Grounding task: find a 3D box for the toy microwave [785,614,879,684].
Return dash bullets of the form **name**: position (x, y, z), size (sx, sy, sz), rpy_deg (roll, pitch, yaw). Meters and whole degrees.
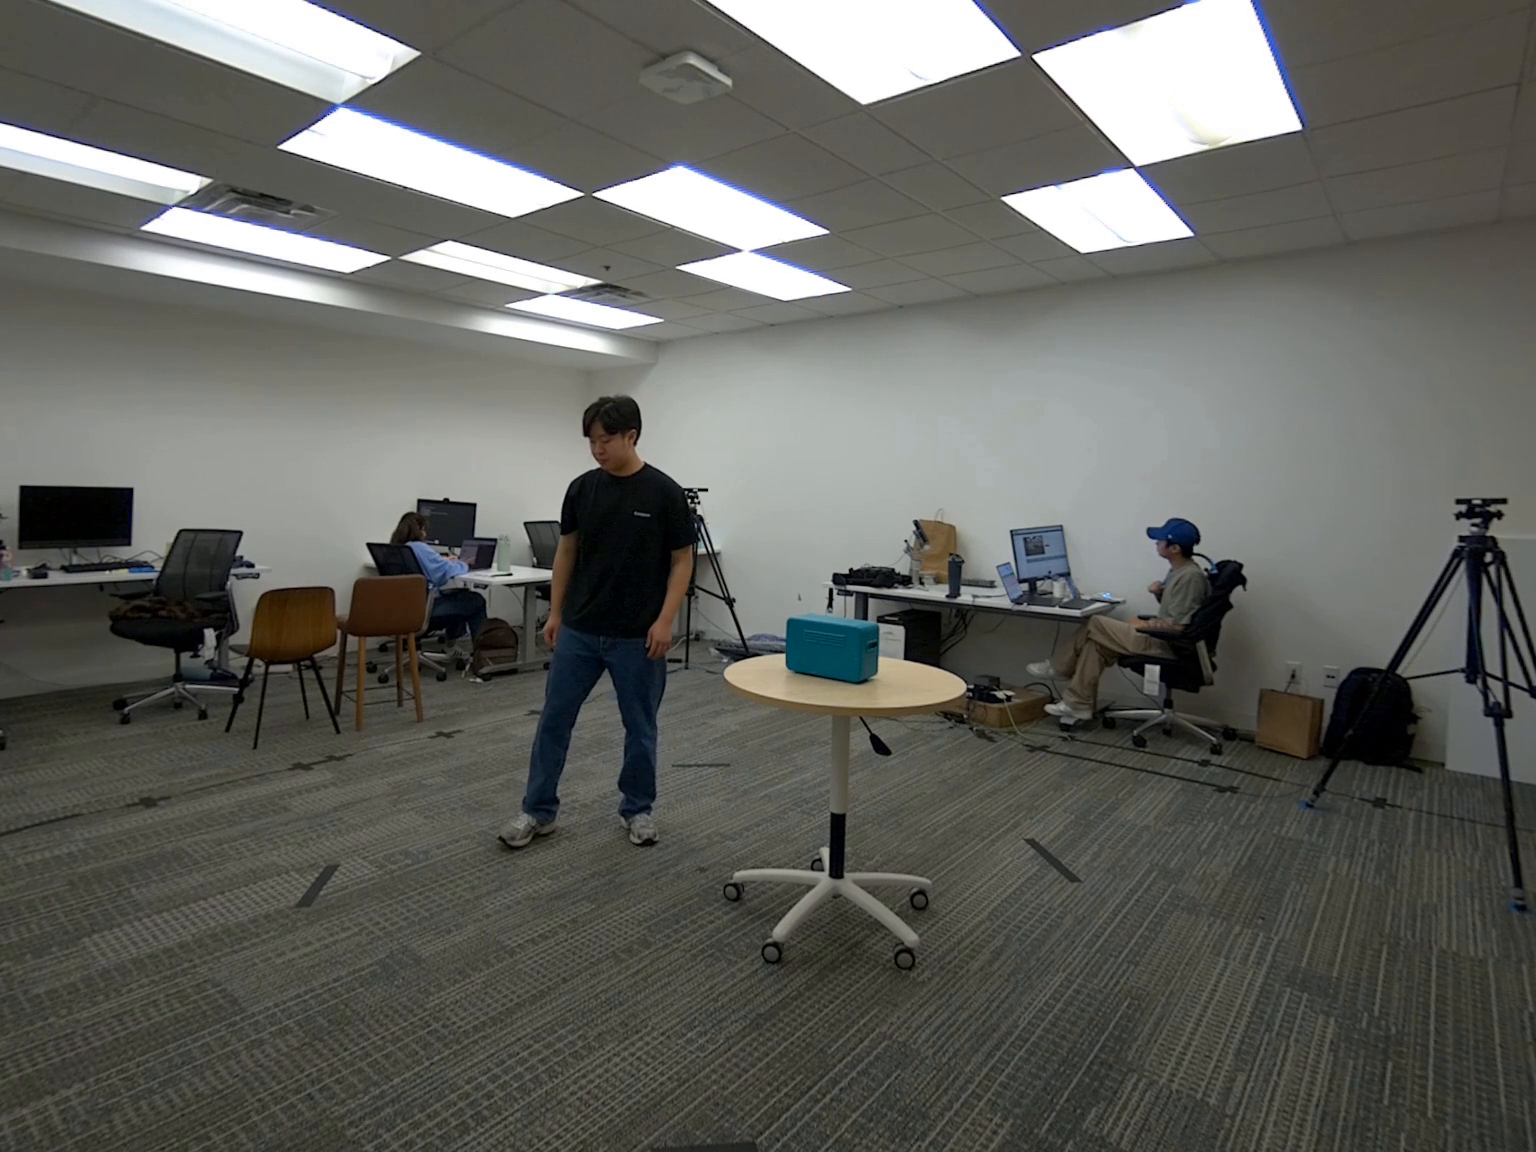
- **toy microwave**: position (0.205, 0.226, 2.746), size (0.296, 0.183, 0.148), rpy_deg (5, 6, 37)
